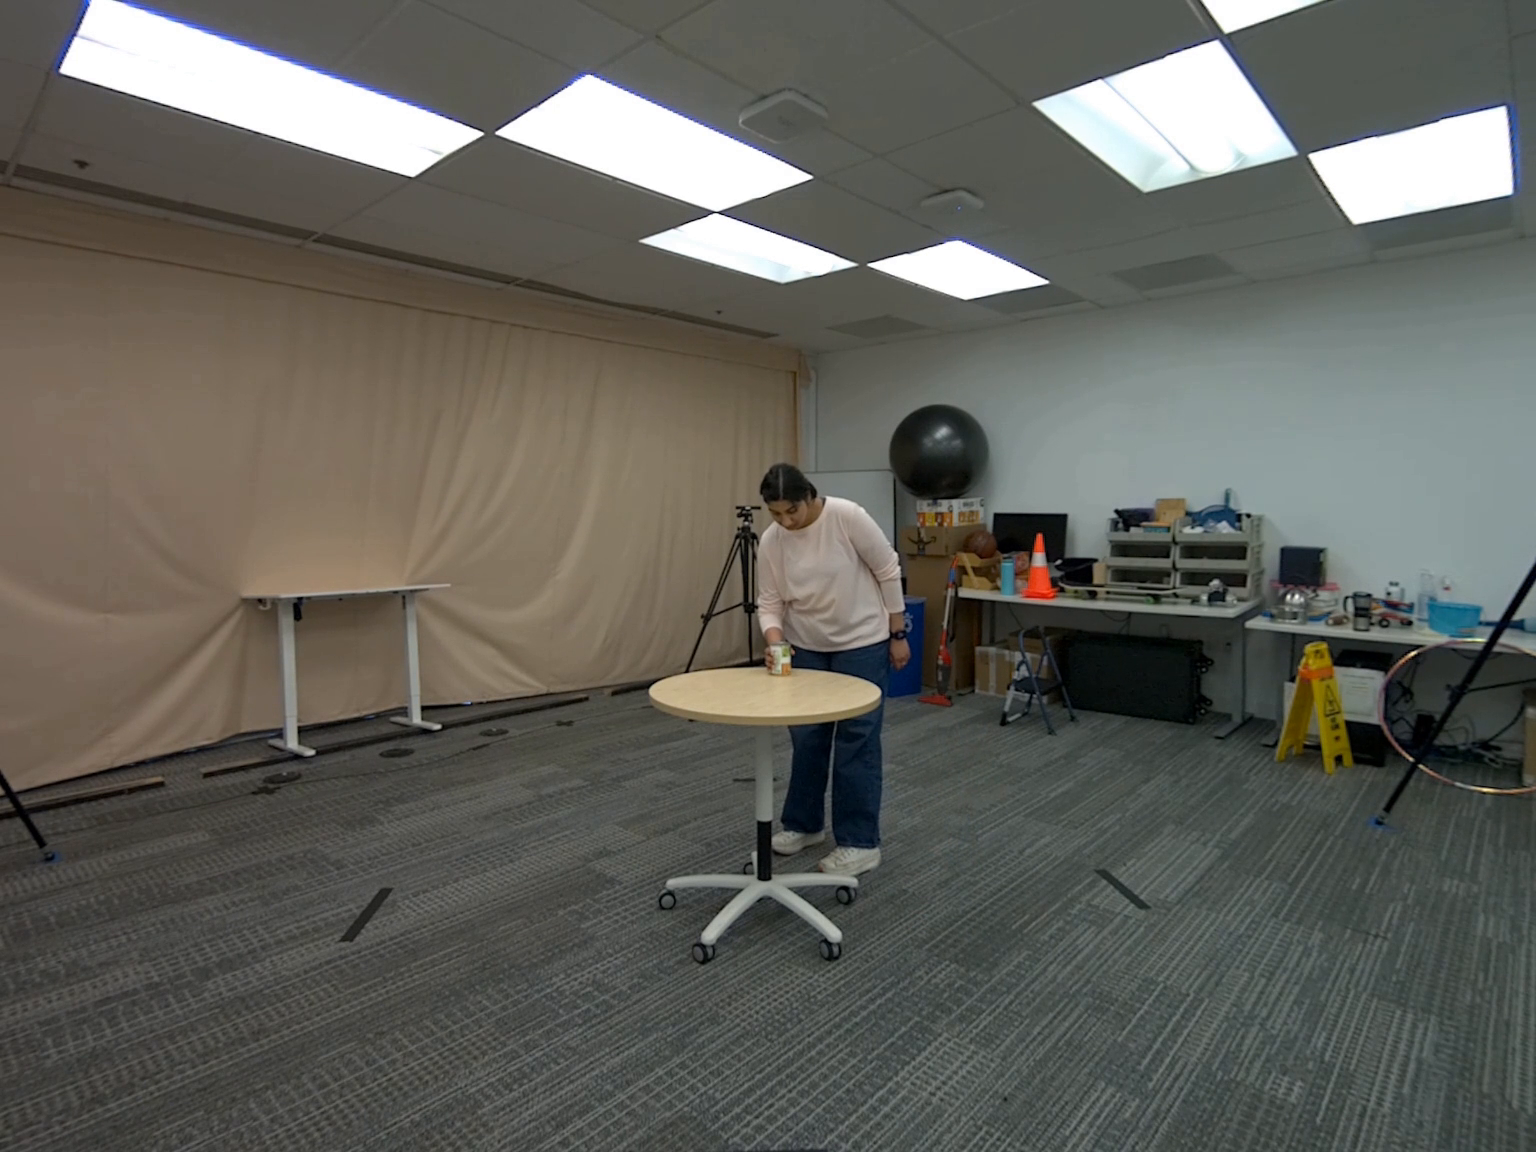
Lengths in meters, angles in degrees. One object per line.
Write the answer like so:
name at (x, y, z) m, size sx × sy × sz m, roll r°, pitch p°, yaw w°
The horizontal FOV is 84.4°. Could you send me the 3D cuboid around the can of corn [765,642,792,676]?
can of corn at (0.042, 0.301, 3.044) m, size 0.074 × 0.111 × 0.074 m, roll -2°, pitch -2°, yaw -2°
